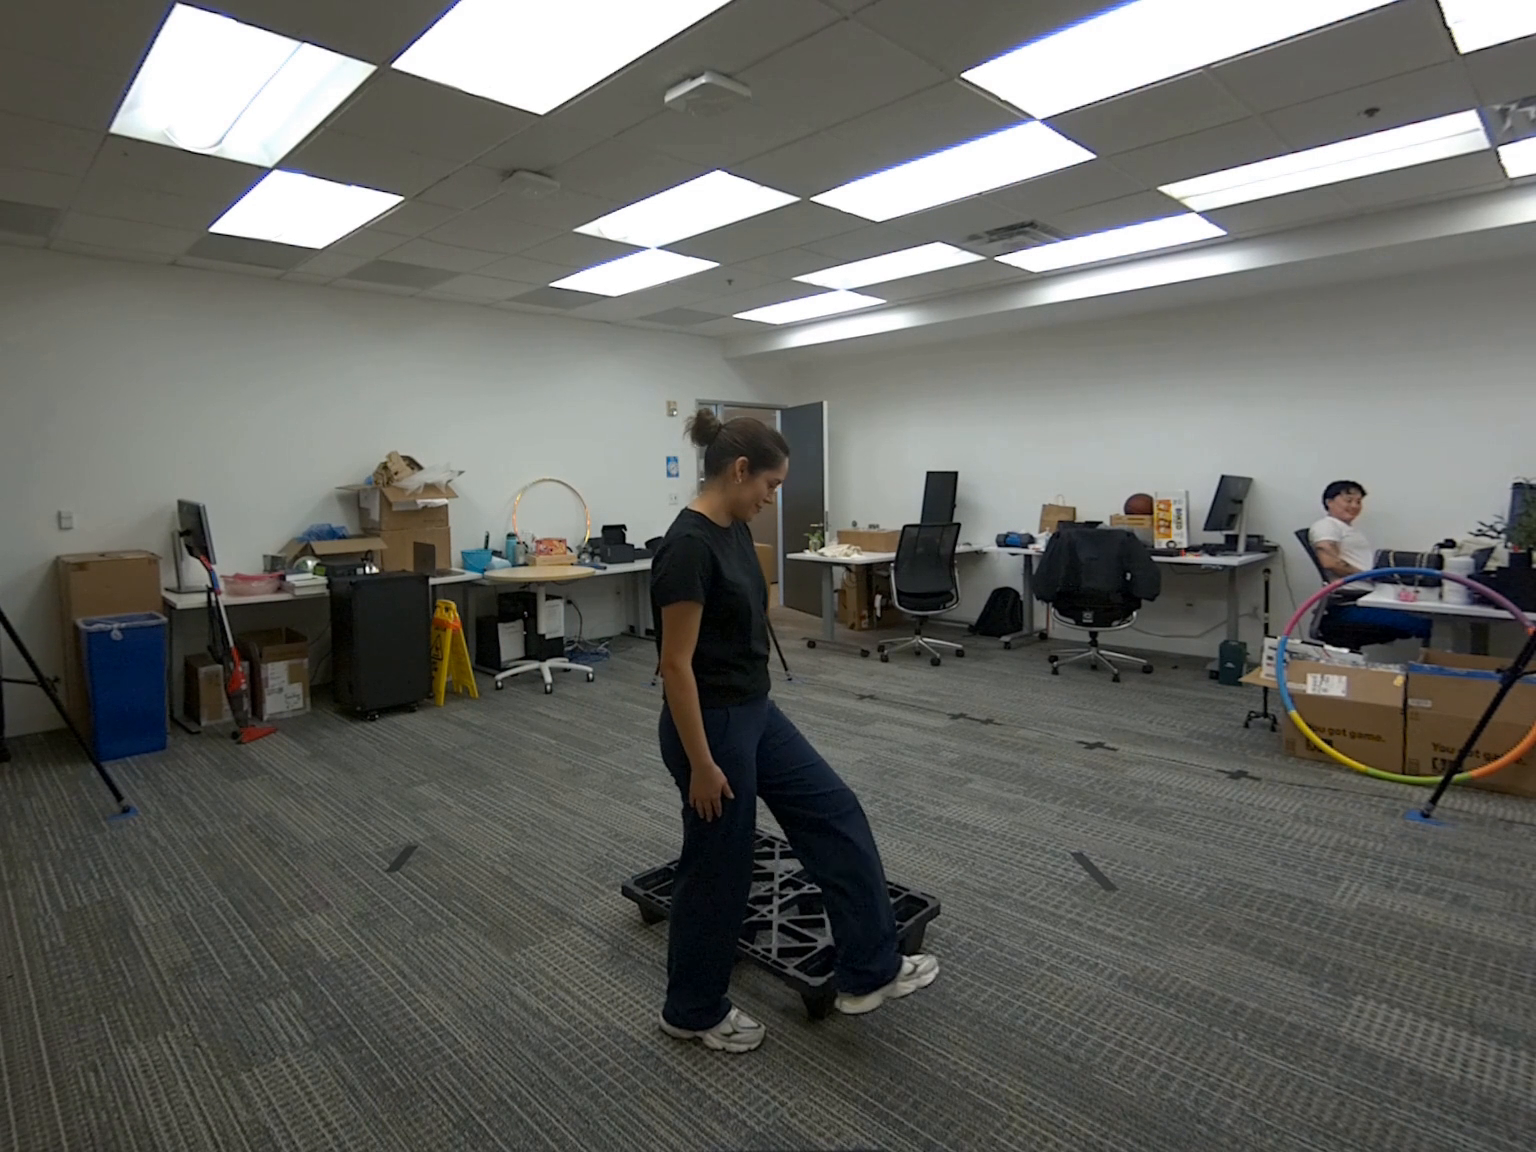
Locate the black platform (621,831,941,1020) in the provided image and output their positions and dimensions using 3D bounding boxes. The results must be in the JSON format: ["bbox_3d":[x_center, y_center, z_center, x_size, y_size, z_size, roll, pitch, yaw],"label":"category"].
[{"bbox_3d":[0.028,1.032,2.638,0.831,0.143,0.589,6,9,44],"label":"black platform"}]
